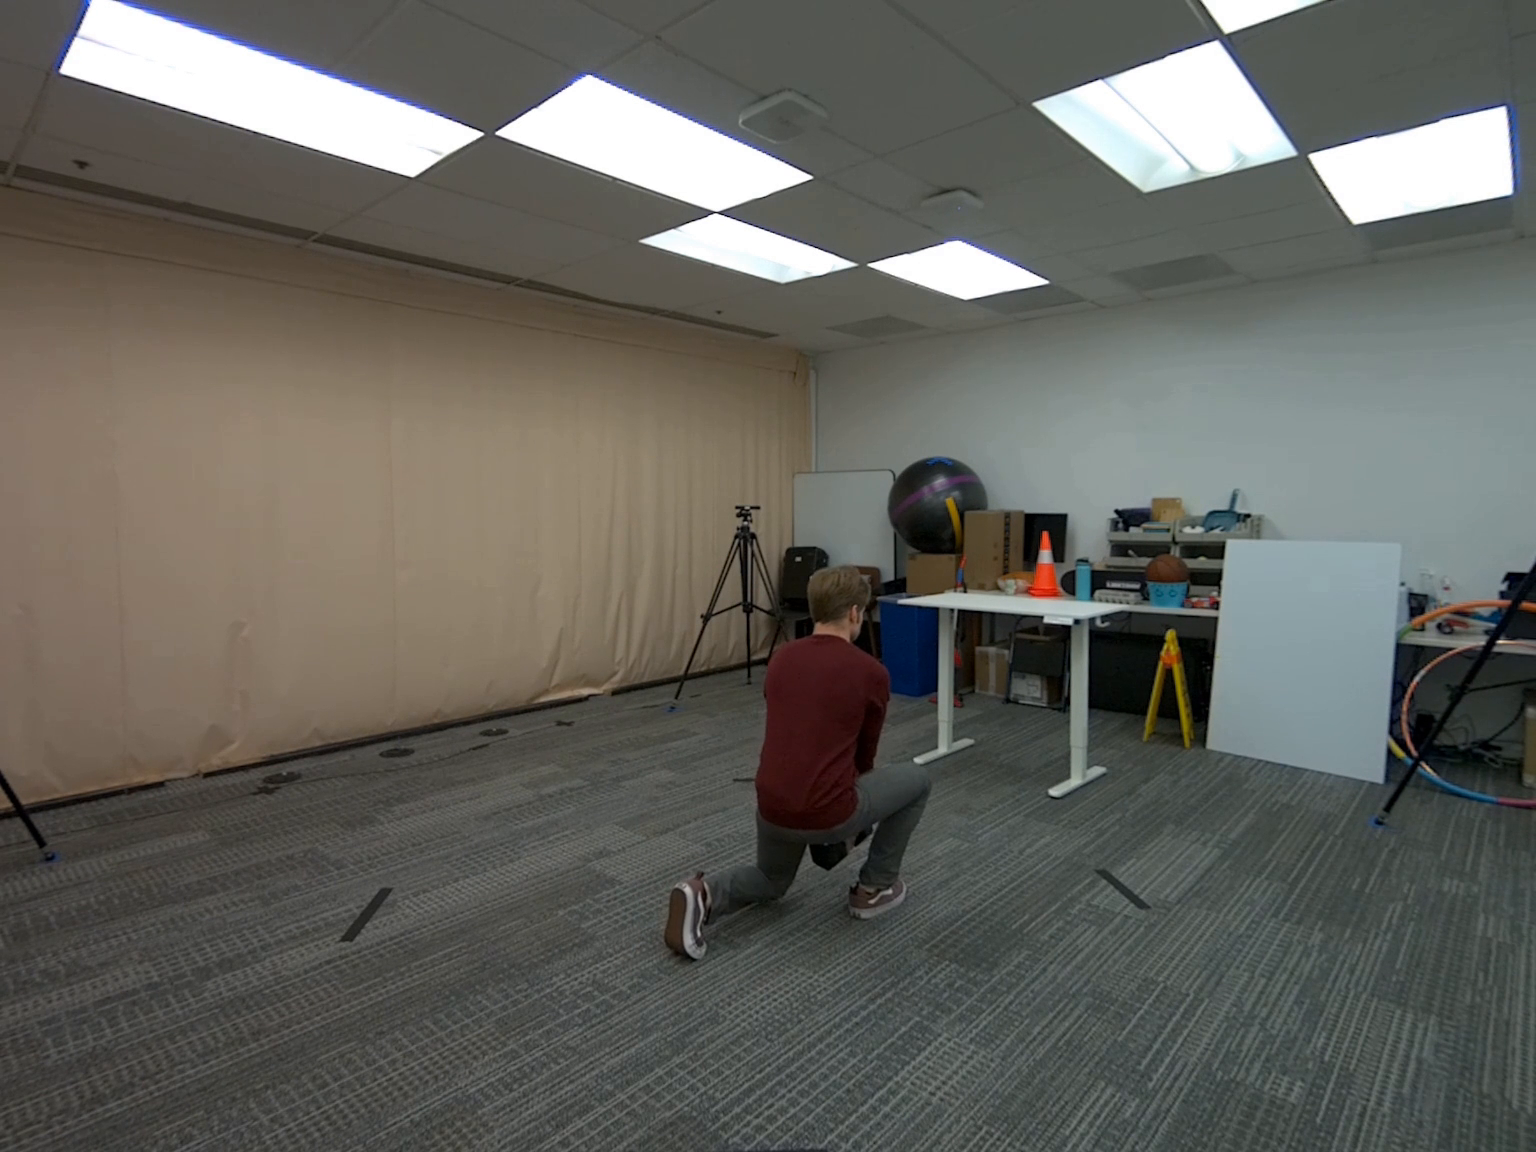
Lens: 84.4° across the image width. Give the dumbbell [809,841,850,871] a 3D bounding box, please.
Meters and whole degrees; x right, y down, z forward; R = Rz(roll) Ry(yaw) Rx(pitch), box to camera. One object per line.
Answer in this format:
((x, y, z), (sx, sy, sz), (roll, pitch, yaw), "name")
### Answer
((0.274, 0.924, 2.974), (0.286, 0.111, 0.123), (-15, -29, -54), "dumbbell")
